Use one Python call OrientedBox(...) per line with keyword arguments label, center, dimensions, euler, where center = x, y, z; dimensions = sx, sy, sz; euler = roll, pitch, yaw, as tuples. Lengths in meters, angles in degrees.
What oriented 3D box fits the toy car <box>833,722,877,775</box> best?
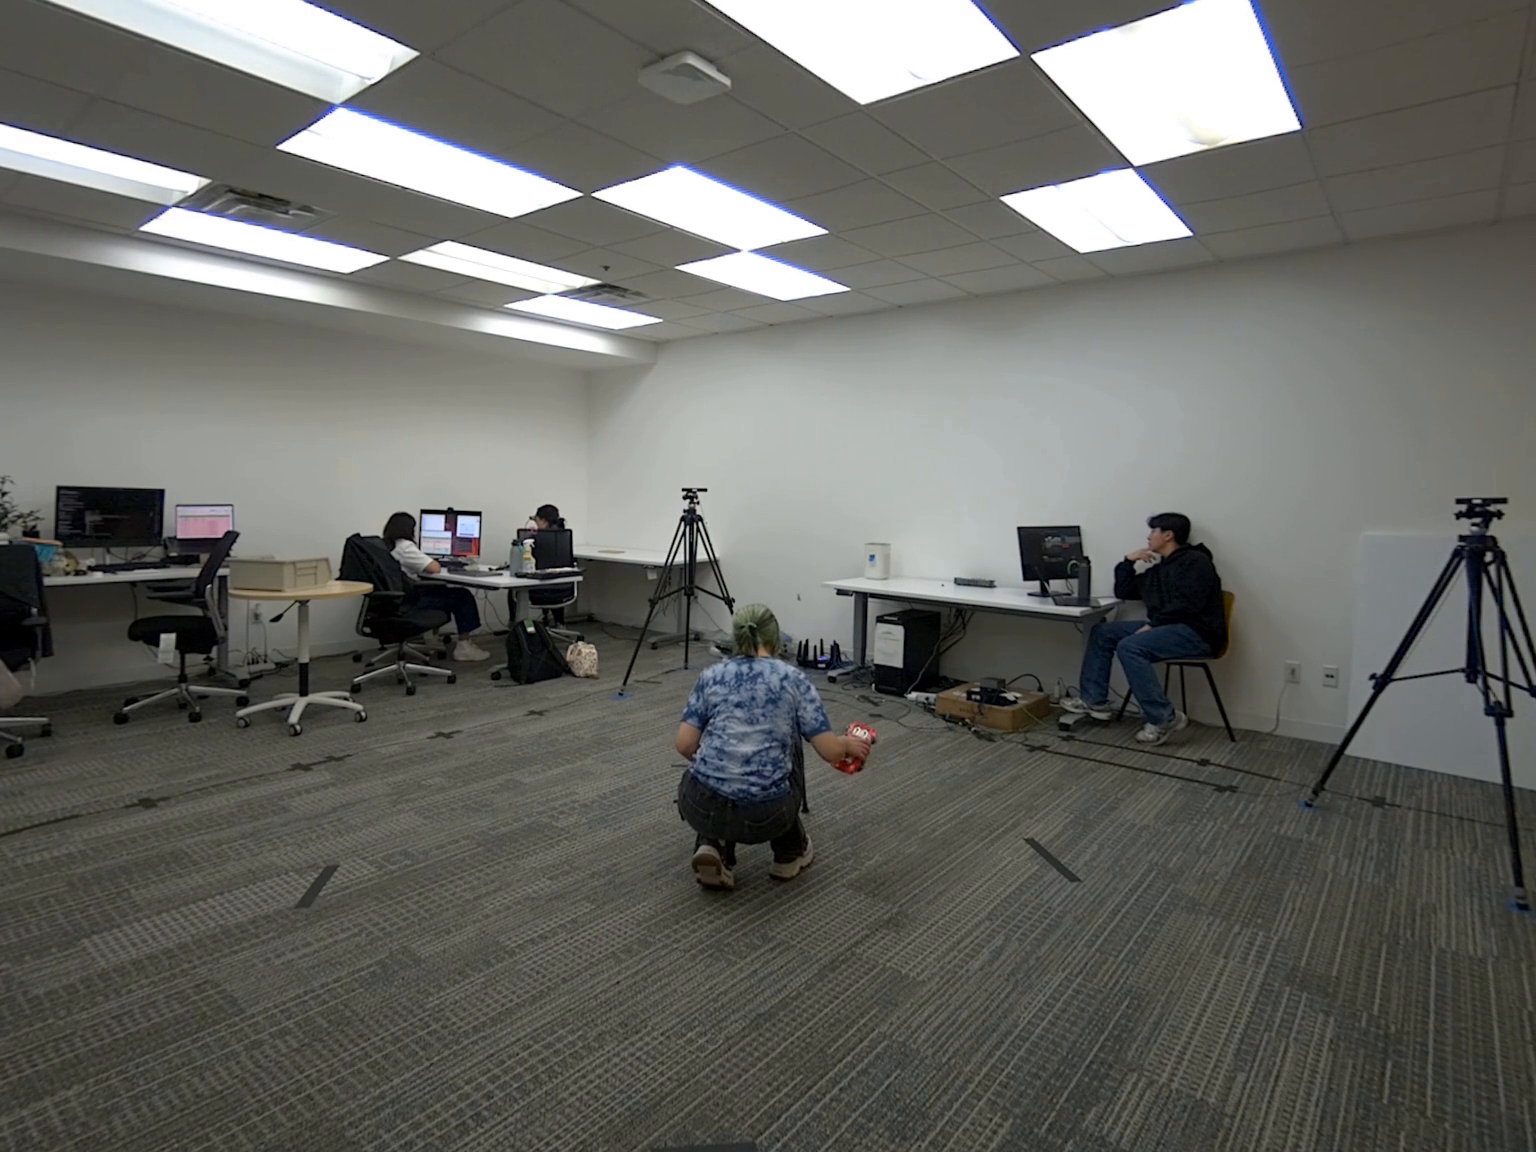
OrientedBox(label="toy car", center=(0.310, 0.665, 3.218), dimensions=(0.134, 0.081, 0.253), euler=(18, 31, 21))
